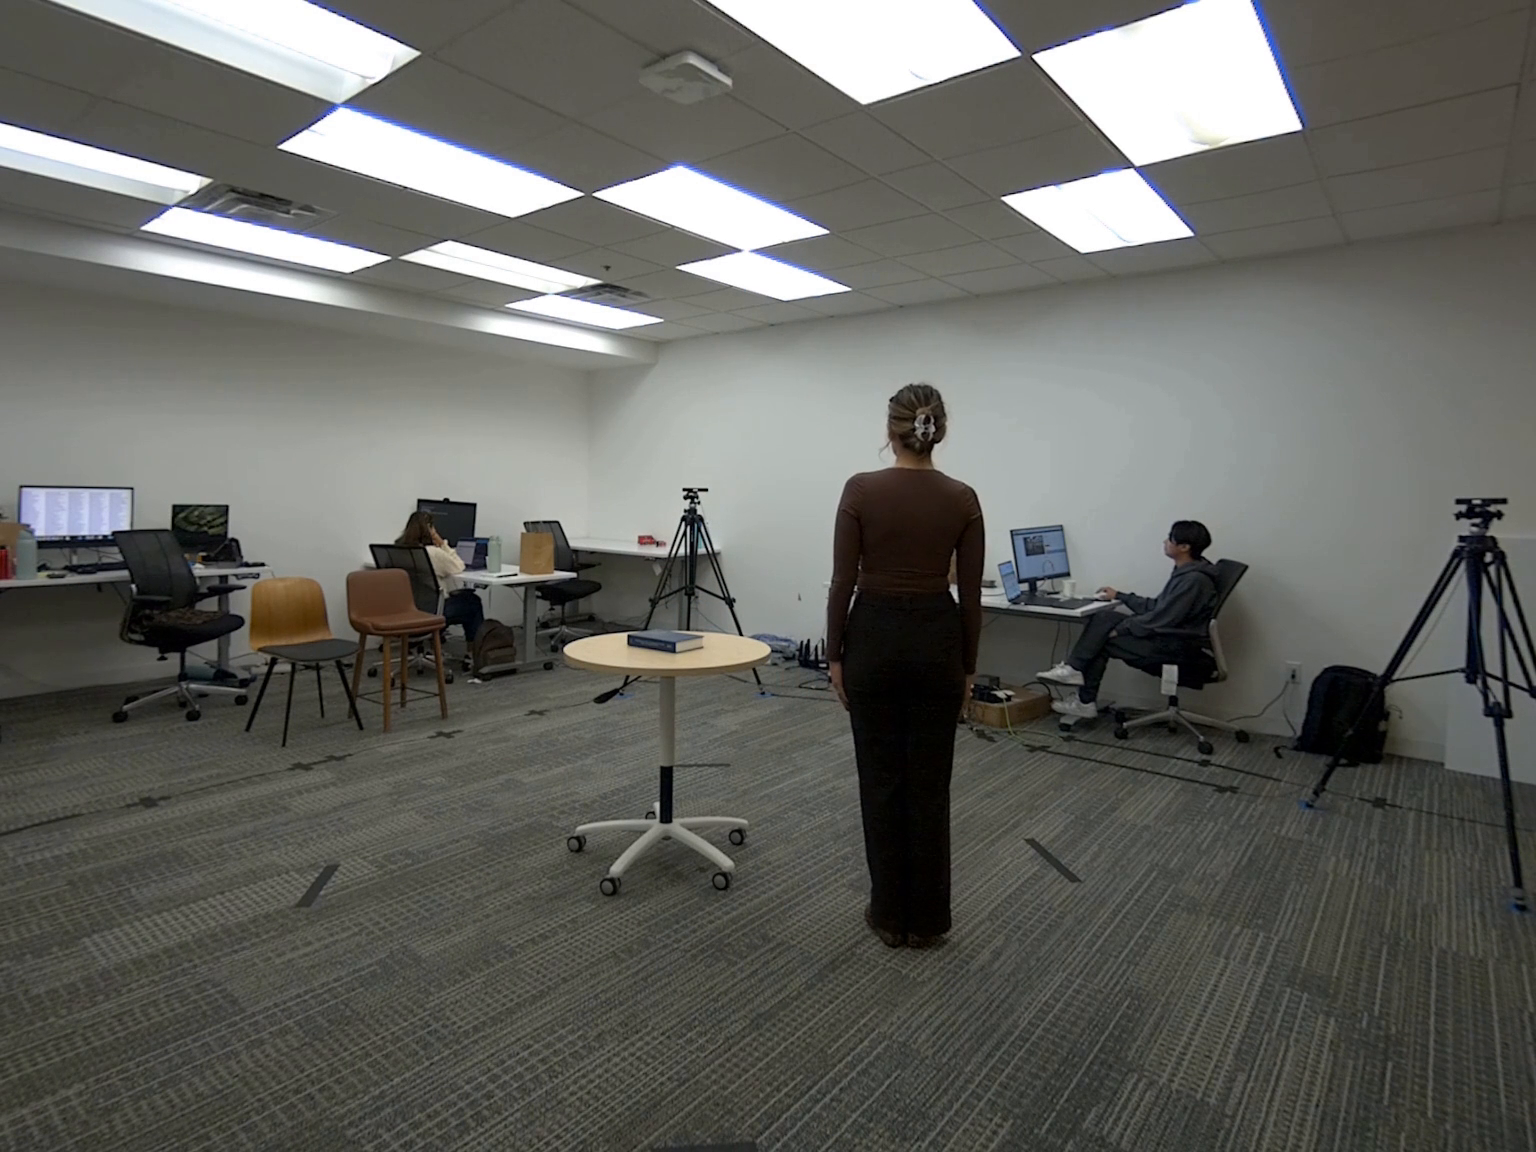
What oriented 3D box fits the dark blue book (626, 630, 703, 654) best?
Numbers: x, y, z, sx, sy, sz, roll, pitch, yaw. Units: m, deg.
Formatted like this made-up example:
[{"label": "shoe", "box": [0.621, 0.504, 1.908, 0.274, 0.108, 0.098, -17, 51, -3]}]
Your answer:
[{"label": "dark blue book", "box": [-0.395, 0.240, 3.181, 0.253, 0.045, 0.159, 4, 6, 36]}]
